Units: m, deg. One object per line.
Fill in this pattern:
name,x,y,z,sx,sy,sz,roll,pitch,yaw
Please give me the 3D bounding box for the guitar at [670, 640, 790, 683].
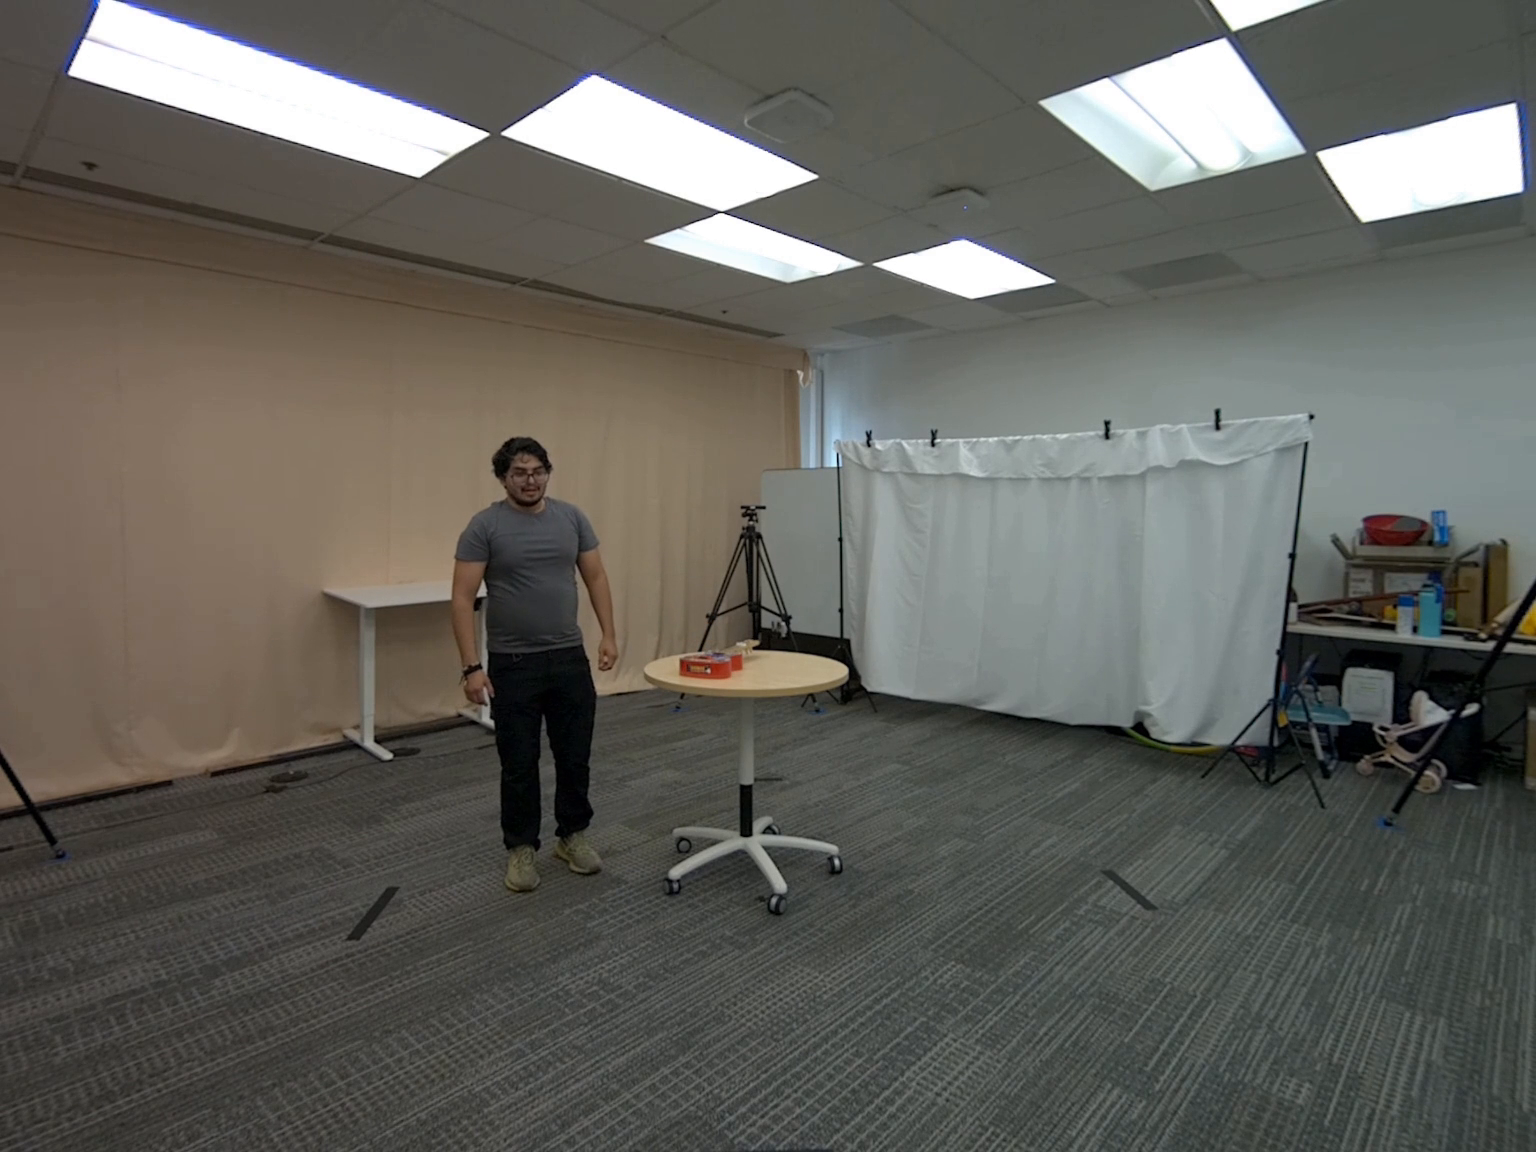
guitar,-0.134,0.311,3.162,0.199,0.070,0.484,1,4,33
